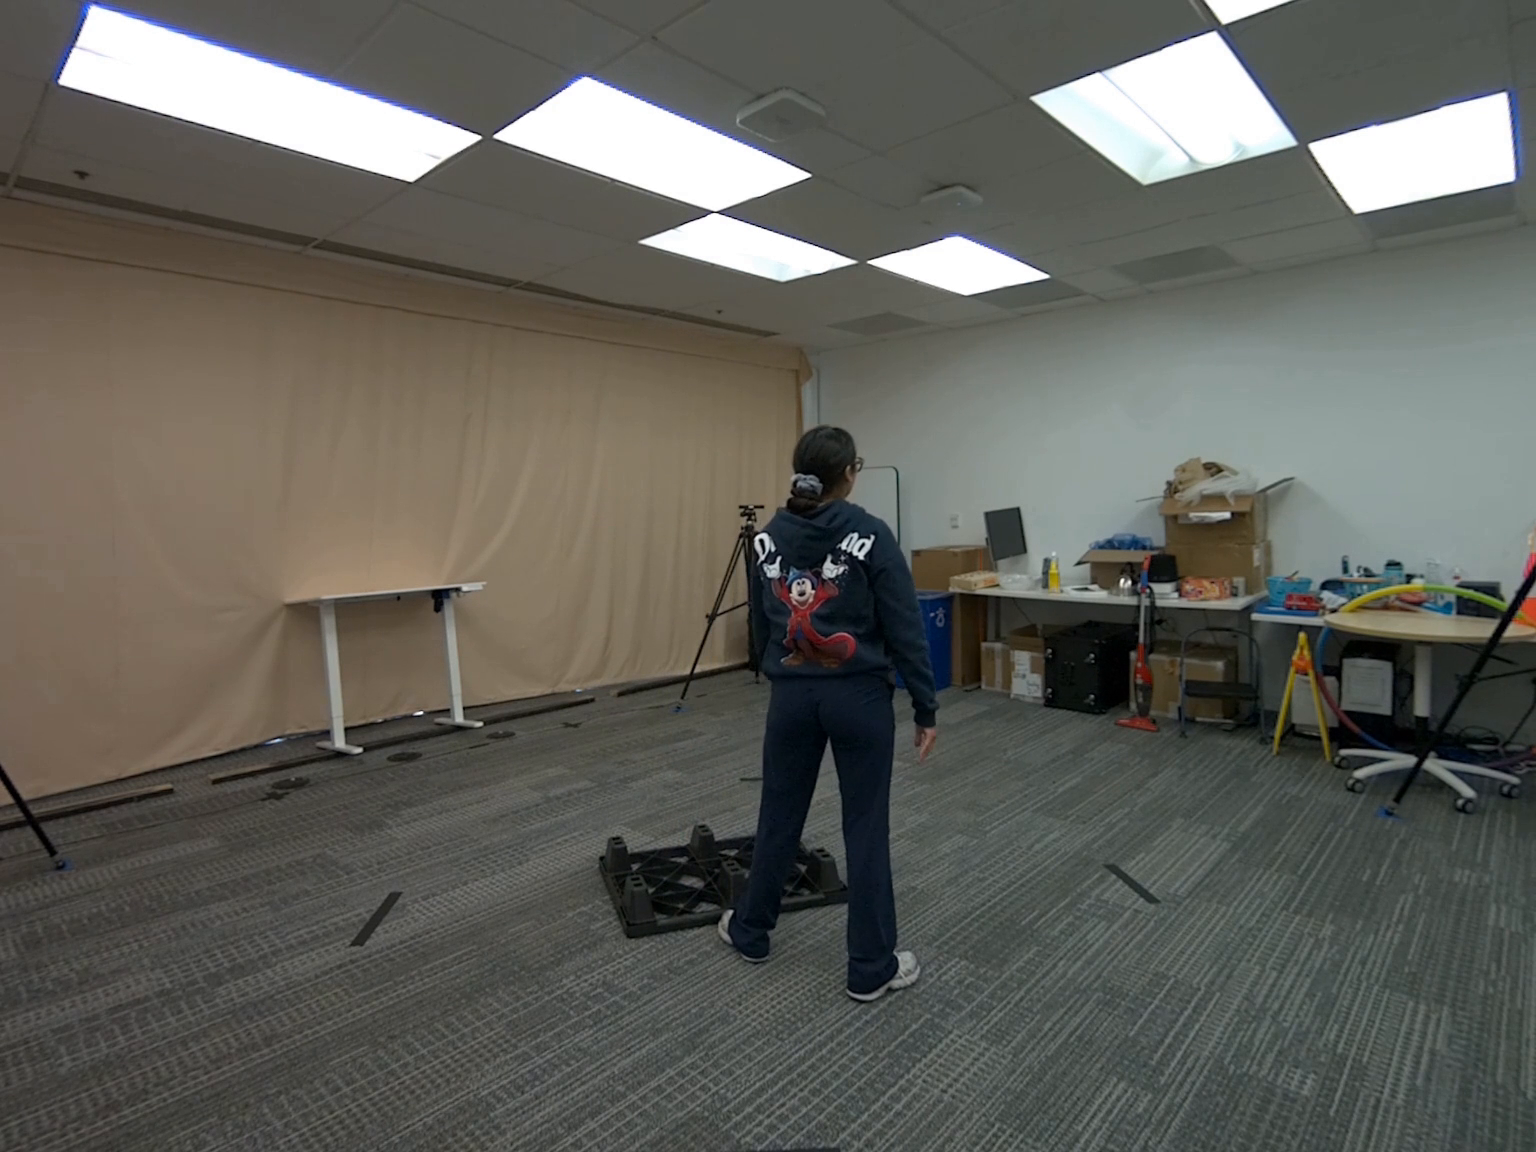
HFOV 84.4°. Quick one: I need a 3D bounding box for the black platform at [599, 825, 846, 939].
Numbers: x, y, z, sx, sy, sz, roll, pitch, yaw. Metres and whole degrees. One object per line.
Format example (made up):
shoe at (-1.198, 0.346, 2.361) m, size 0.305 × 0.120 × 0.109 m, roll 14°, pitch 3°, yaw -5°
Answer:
black platform at (-0.186, 1.066, 3.106) m, size 0.791 × 0.143 × 0.618 m, roll -3°, pitch 5°, yaw -19°
